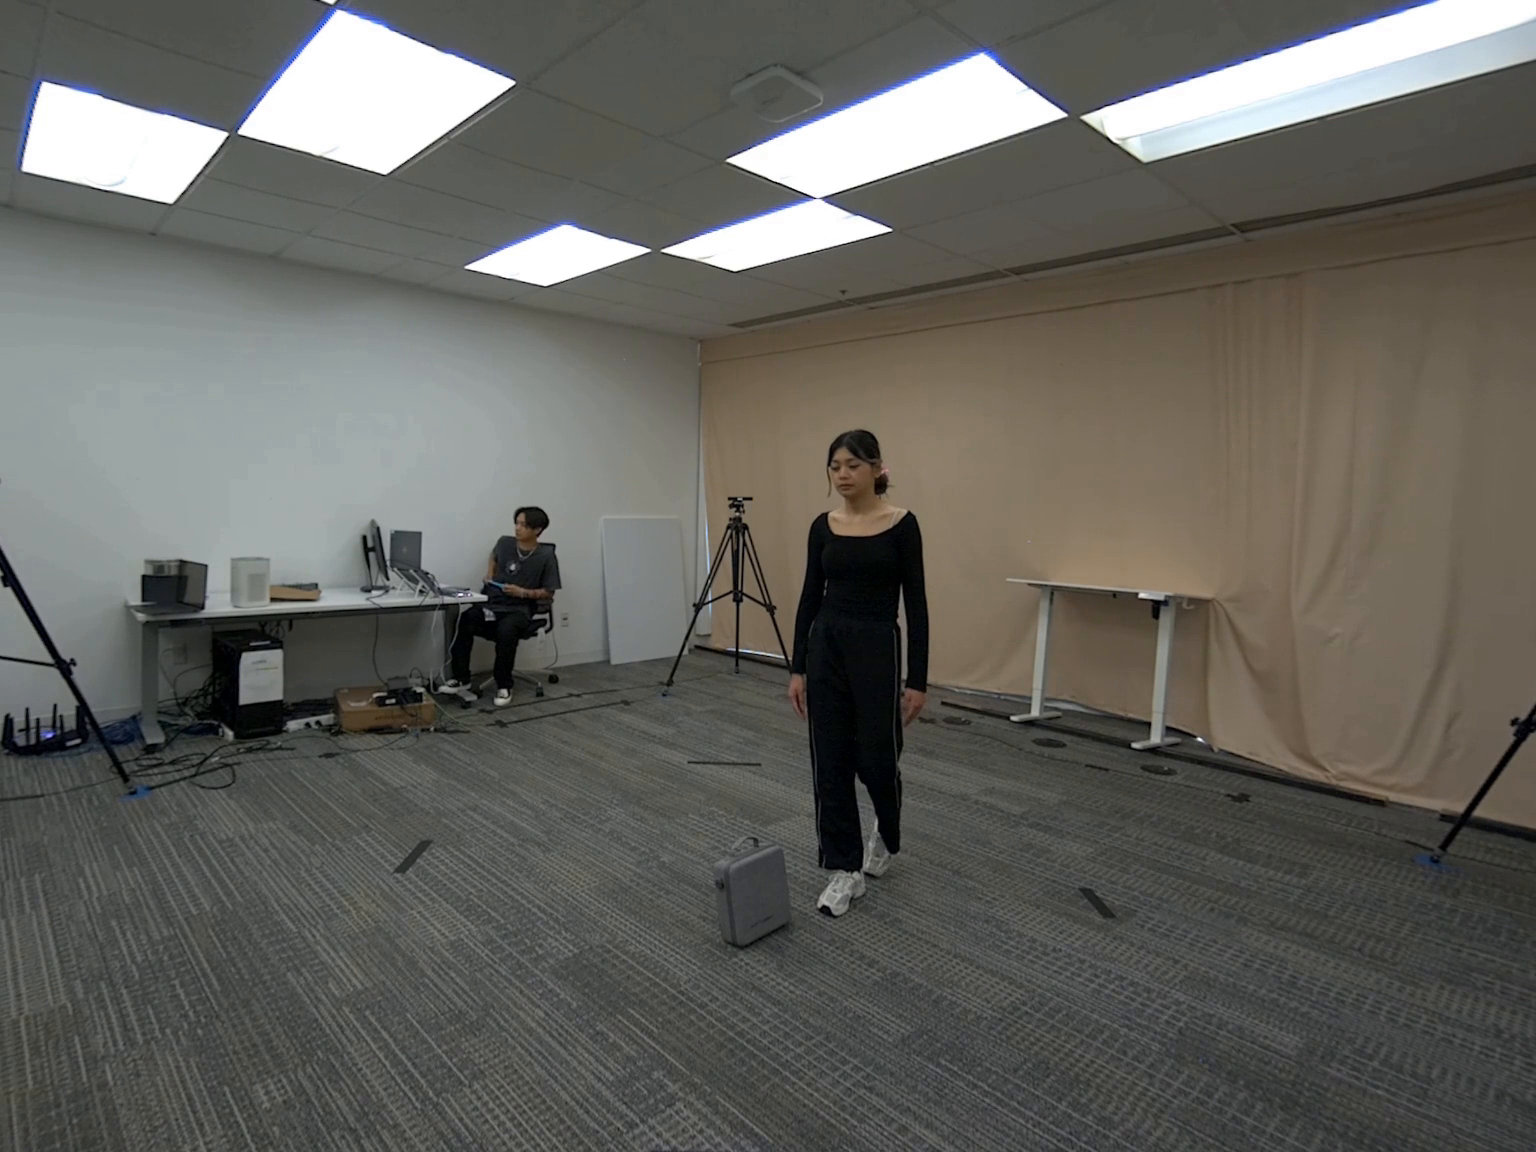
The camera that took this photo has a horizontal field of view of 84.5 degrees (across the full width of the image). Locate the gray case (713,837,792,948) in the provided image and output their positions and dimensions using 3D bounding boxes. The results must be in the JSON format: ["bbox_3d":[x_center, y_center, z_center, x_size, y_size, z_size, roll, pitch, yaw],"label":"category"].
[{"bbox_3d":[-0.059,1.013,2.702,0.106,0.261,0.251,-11,-5,43],"label":"gray case"}]
